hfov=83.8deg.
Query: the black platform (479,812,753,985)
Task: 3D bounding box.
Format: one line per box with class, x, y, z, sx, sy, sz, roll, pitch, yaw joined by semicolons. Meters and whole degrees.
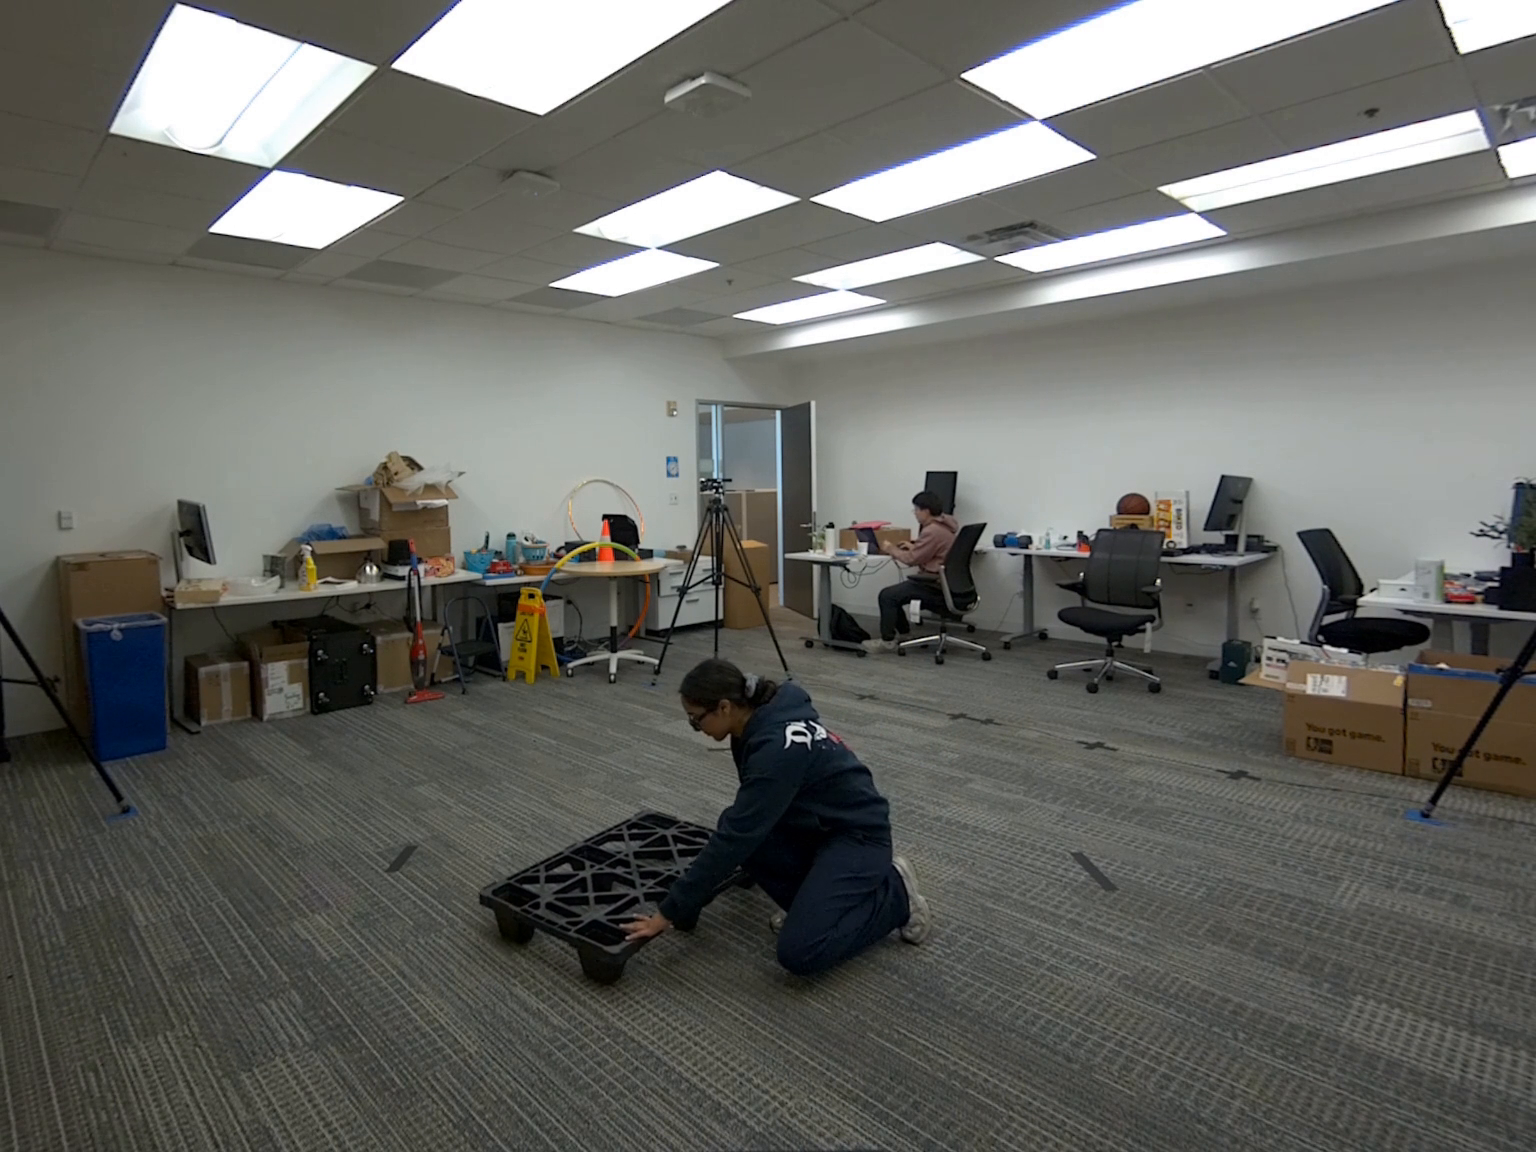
black platform;-0.425;1.017;2.798;0.623;0.142;0.787;4;8;35
